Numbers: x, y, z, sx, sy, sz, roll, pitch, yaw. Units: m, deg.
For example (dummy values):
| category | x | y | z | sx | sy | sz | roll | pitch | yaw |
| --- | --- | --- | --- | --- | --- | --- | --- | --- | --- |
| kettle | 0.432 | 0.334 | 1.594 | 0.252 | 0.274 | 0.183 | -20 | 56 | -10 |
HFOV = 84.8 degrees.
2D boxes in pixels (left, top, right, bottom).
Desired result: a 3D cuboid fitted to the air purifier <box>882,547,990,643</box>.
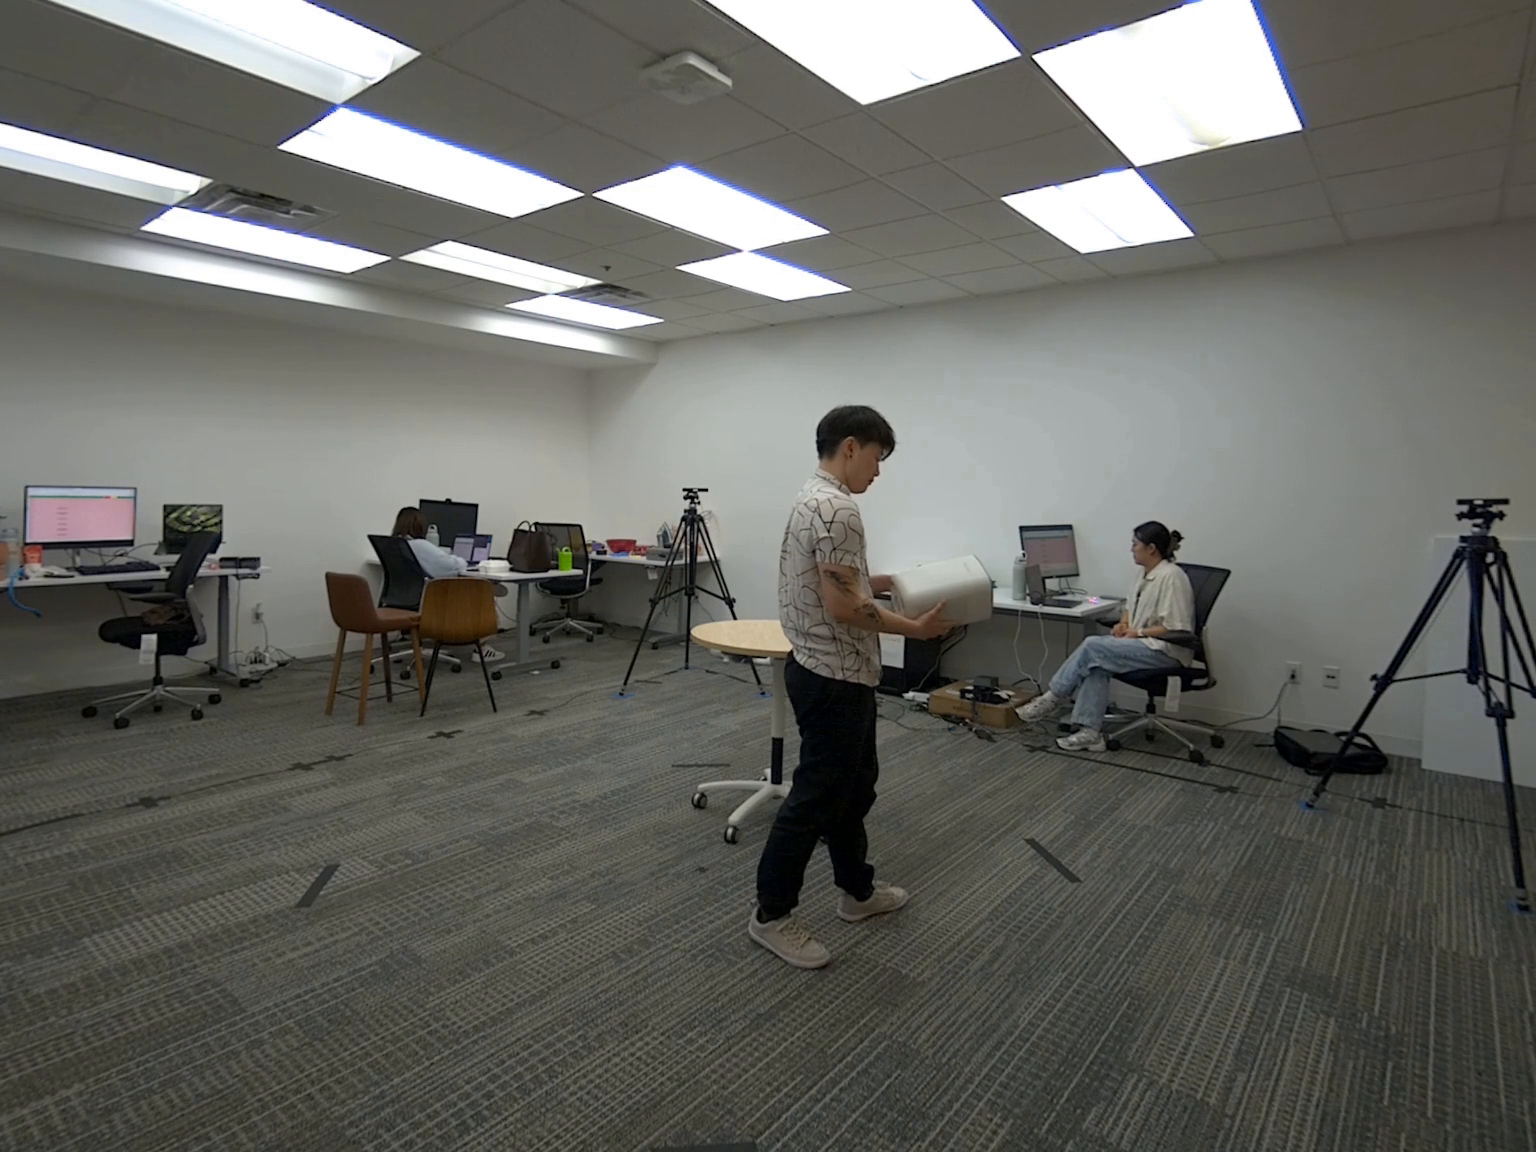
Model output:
| category | x | y | z | sx | sy | sz | roll | pitch | yaw |
| --- | --- | --- | --- | --- | --- | --- | --- | --- | --- |
| air purifier | 0.506 | 0.056 | 2.565 | 0.265 | 0.166 | 0.177 | -12 | 37 | -3 |
